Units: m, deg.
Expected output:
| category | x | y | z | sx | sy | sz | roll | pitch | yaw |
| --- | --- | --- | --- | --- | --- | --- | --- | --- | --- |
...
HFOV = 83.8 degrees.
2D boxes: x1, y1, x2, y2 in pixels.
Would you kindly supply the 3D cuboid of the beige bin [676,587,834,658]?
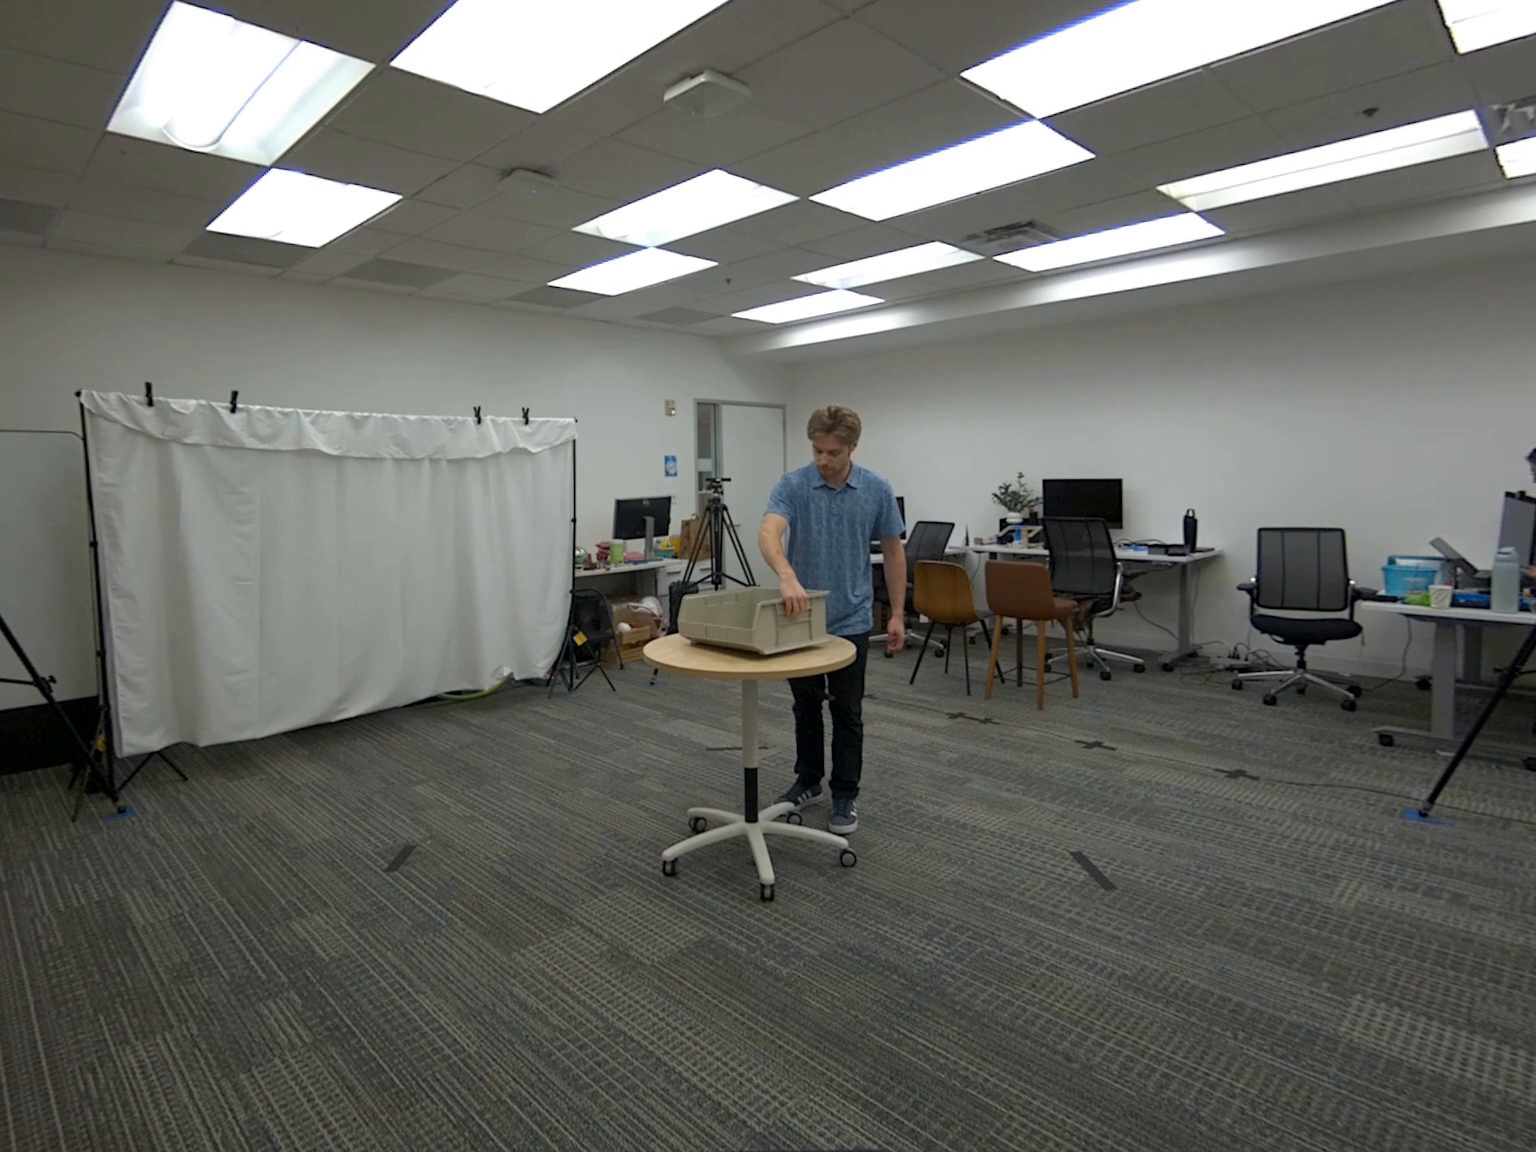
| category | x | y | z | sx | sy | sz | roll | pitch | yaw |
| --- | --- | --- | --- | --- | --- | --- | --- | --- | --- |
| beige bin | -0.053 | 0.155 | 3.094 | 0.367 | 0.189 | 0.434 | -4 | 4 | -40 |
